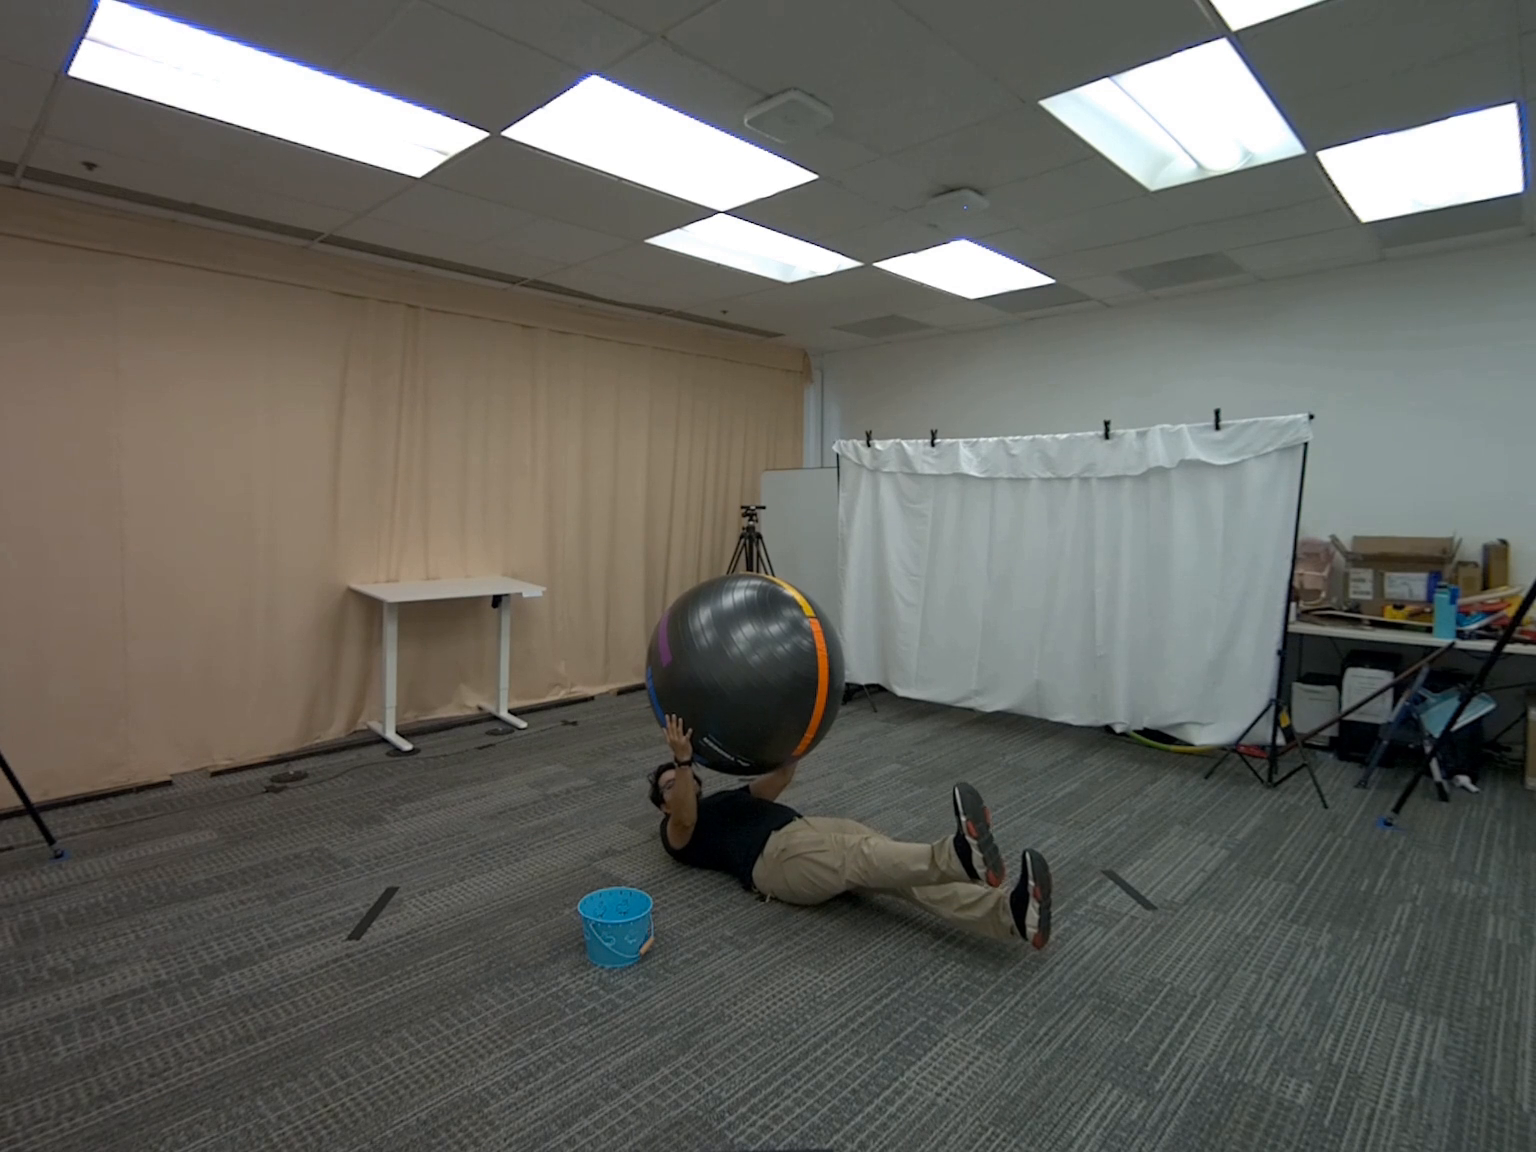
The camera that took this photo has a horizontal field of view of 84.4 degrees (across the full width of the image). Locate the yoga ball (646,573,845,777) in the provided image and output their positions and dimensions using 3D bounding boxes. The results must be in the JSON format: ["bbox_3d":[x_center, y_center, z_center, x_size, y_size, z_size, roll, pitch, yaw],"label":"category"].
[{"bbox_3d":[-0.084,0.374,3.204,0.757,0.756,0.761,0,4,-2],"label":"yoga ball"}]
